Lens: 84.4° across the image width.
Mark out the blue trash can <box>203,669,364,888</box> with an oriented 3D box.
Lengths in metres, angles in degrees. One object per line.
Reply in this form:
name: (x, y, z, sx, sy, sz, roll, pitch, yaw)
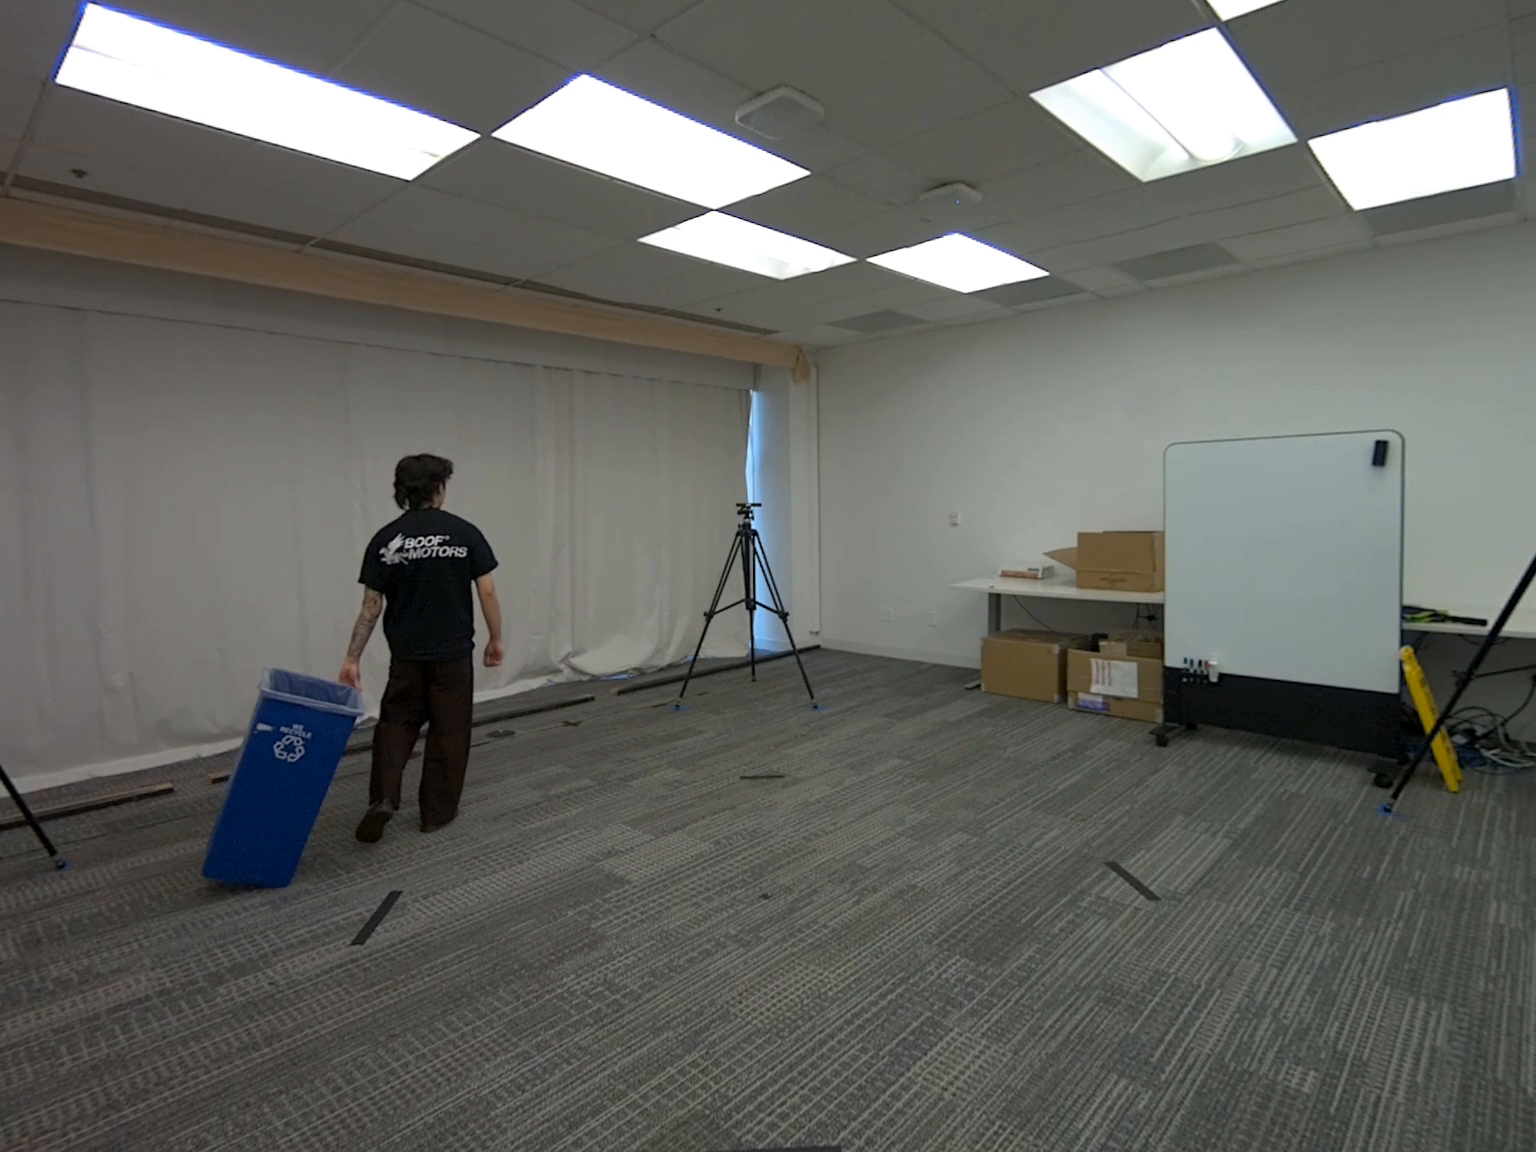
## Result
blue trash can: (-1.857, 0.767, 3.240, 0.363, 0.714, 0.389, 20, -2, -29)
